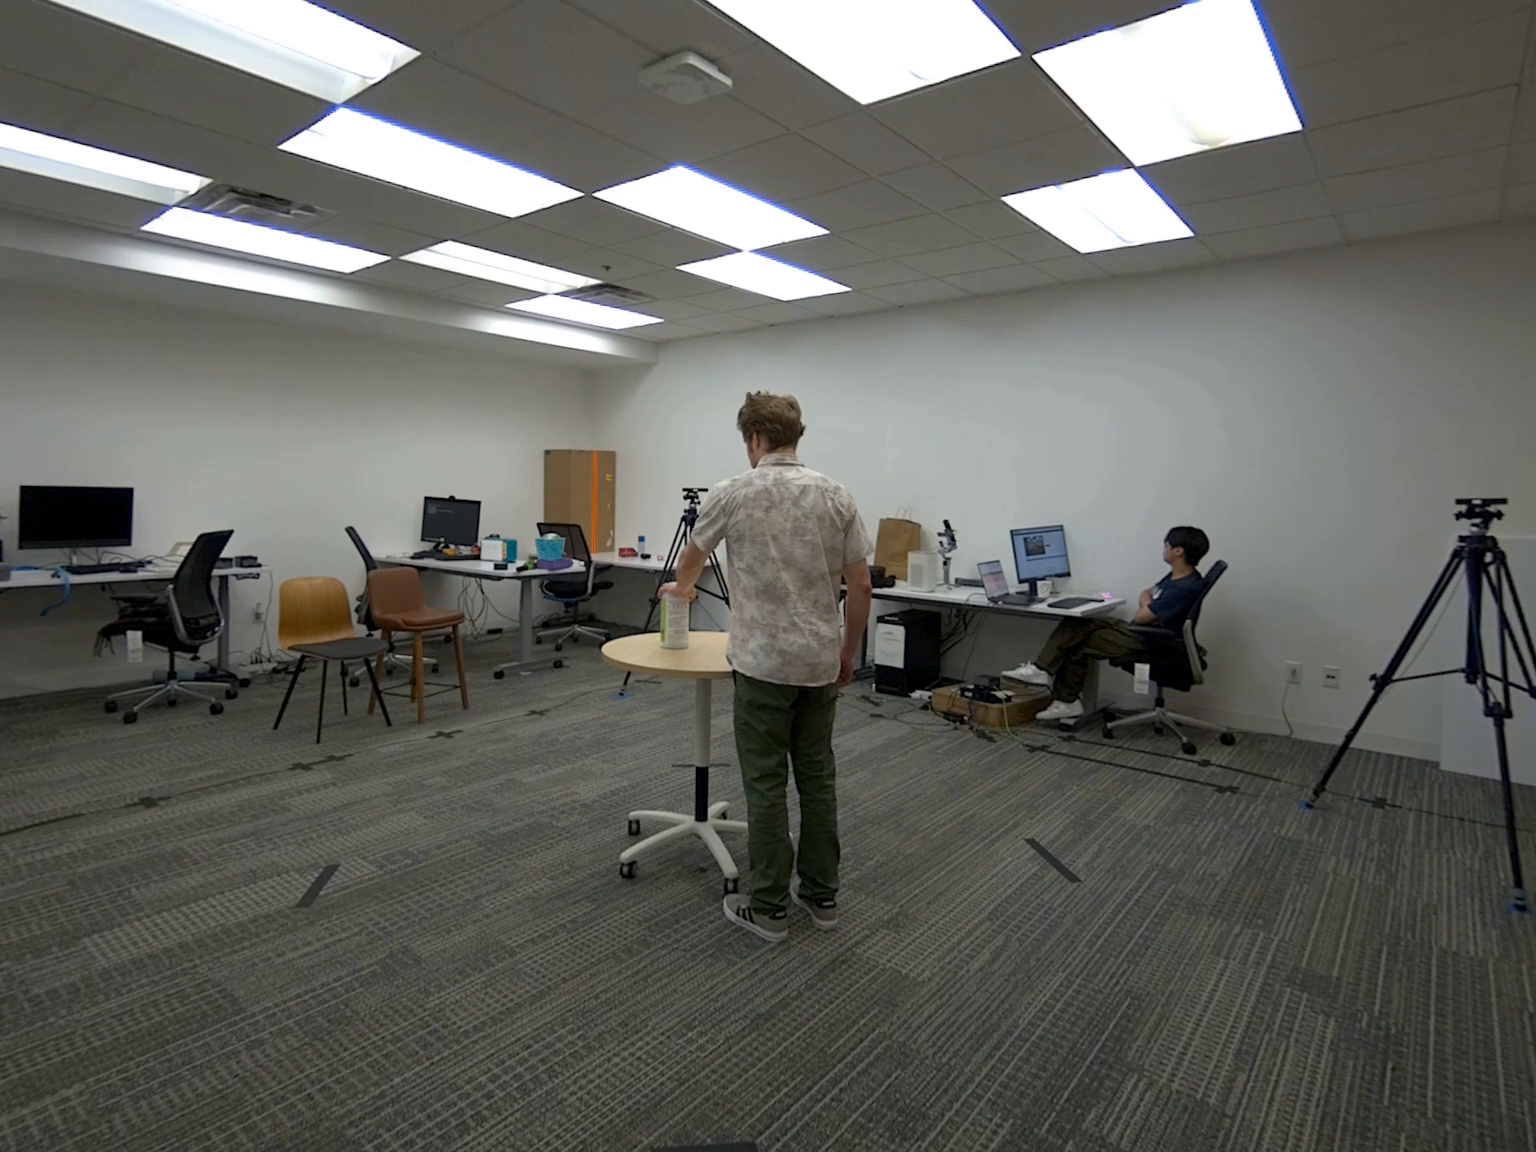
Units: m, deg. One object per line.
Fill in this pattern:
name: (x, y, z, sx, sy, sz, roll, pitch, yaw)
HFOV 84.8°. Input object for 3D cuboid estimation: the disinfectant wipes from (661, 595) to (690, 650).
disinfectant wipes: (-0.361, 0.162, 3.212, 0.118, 0.217, 0.118, -1, 4, -2)
